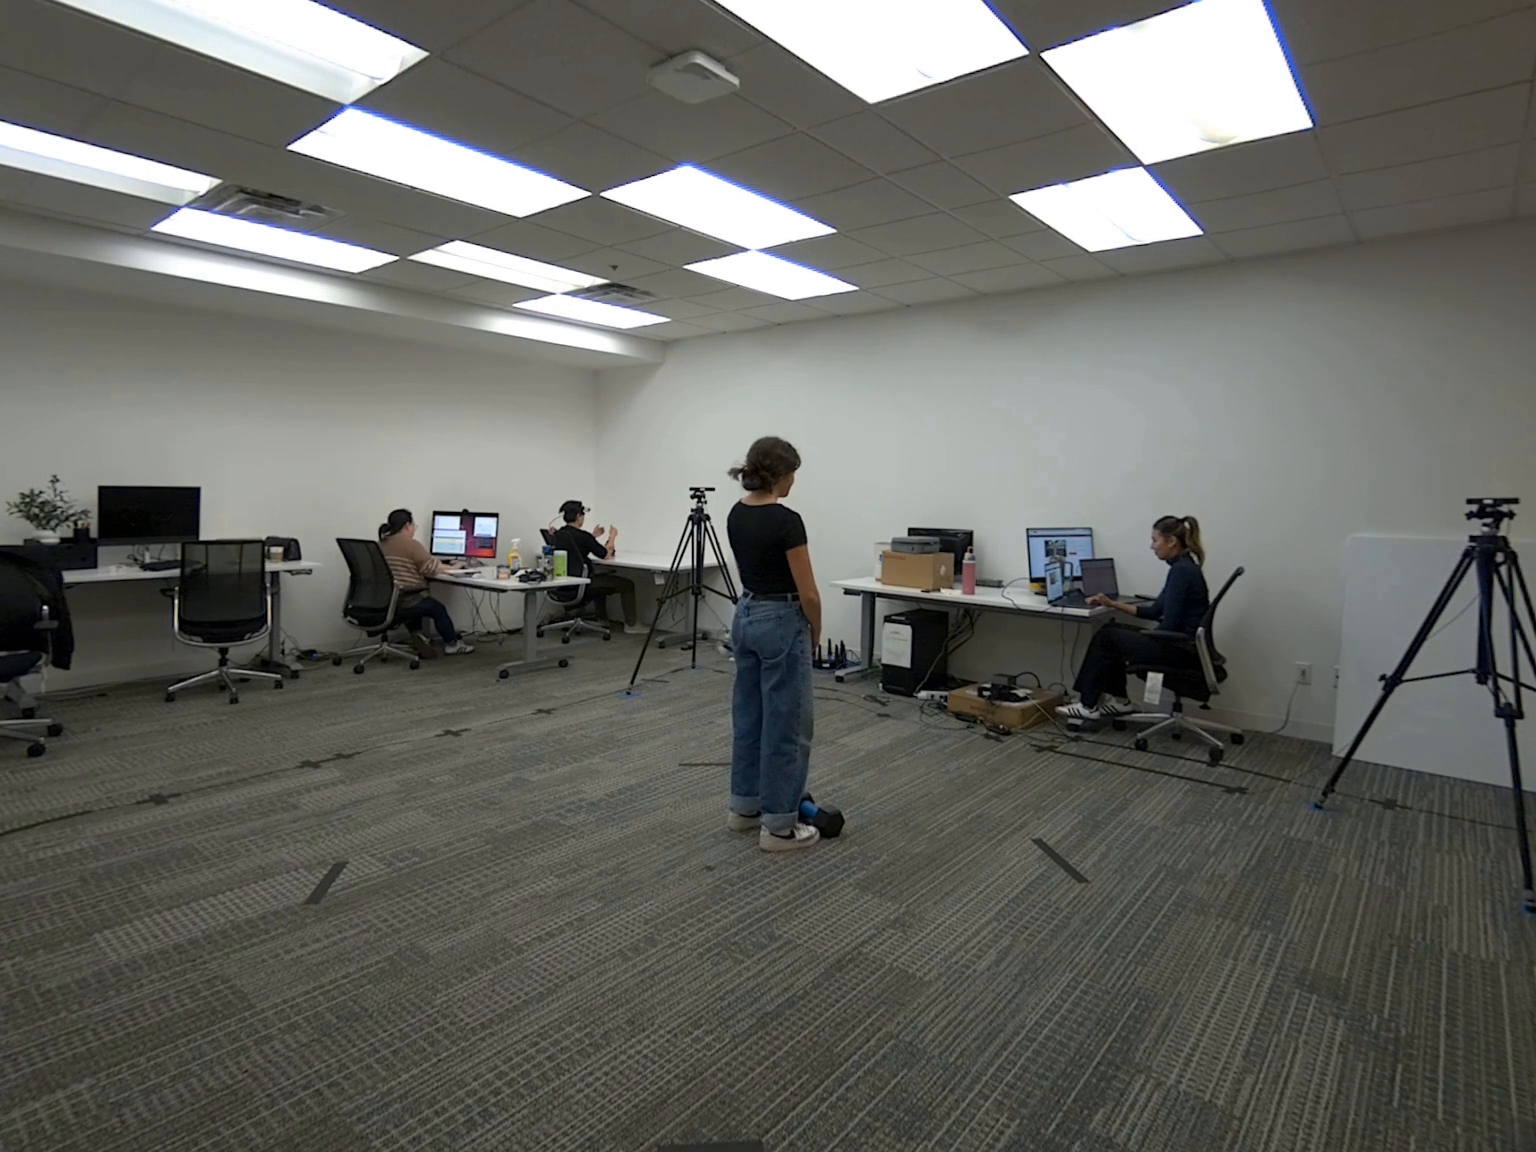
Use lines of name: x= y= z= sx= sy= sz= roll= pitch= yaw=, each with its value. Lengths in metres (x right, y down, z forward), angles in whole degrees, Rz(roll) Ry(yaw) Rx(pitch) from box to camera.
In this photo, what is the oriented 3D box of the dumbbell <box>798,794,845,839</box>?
dumbbell: x=0.186 y=0.981 z=3.537 sx=0.105 sy=0.123 sz=0.303 roll=33 pitch=-11 yaw=-29
